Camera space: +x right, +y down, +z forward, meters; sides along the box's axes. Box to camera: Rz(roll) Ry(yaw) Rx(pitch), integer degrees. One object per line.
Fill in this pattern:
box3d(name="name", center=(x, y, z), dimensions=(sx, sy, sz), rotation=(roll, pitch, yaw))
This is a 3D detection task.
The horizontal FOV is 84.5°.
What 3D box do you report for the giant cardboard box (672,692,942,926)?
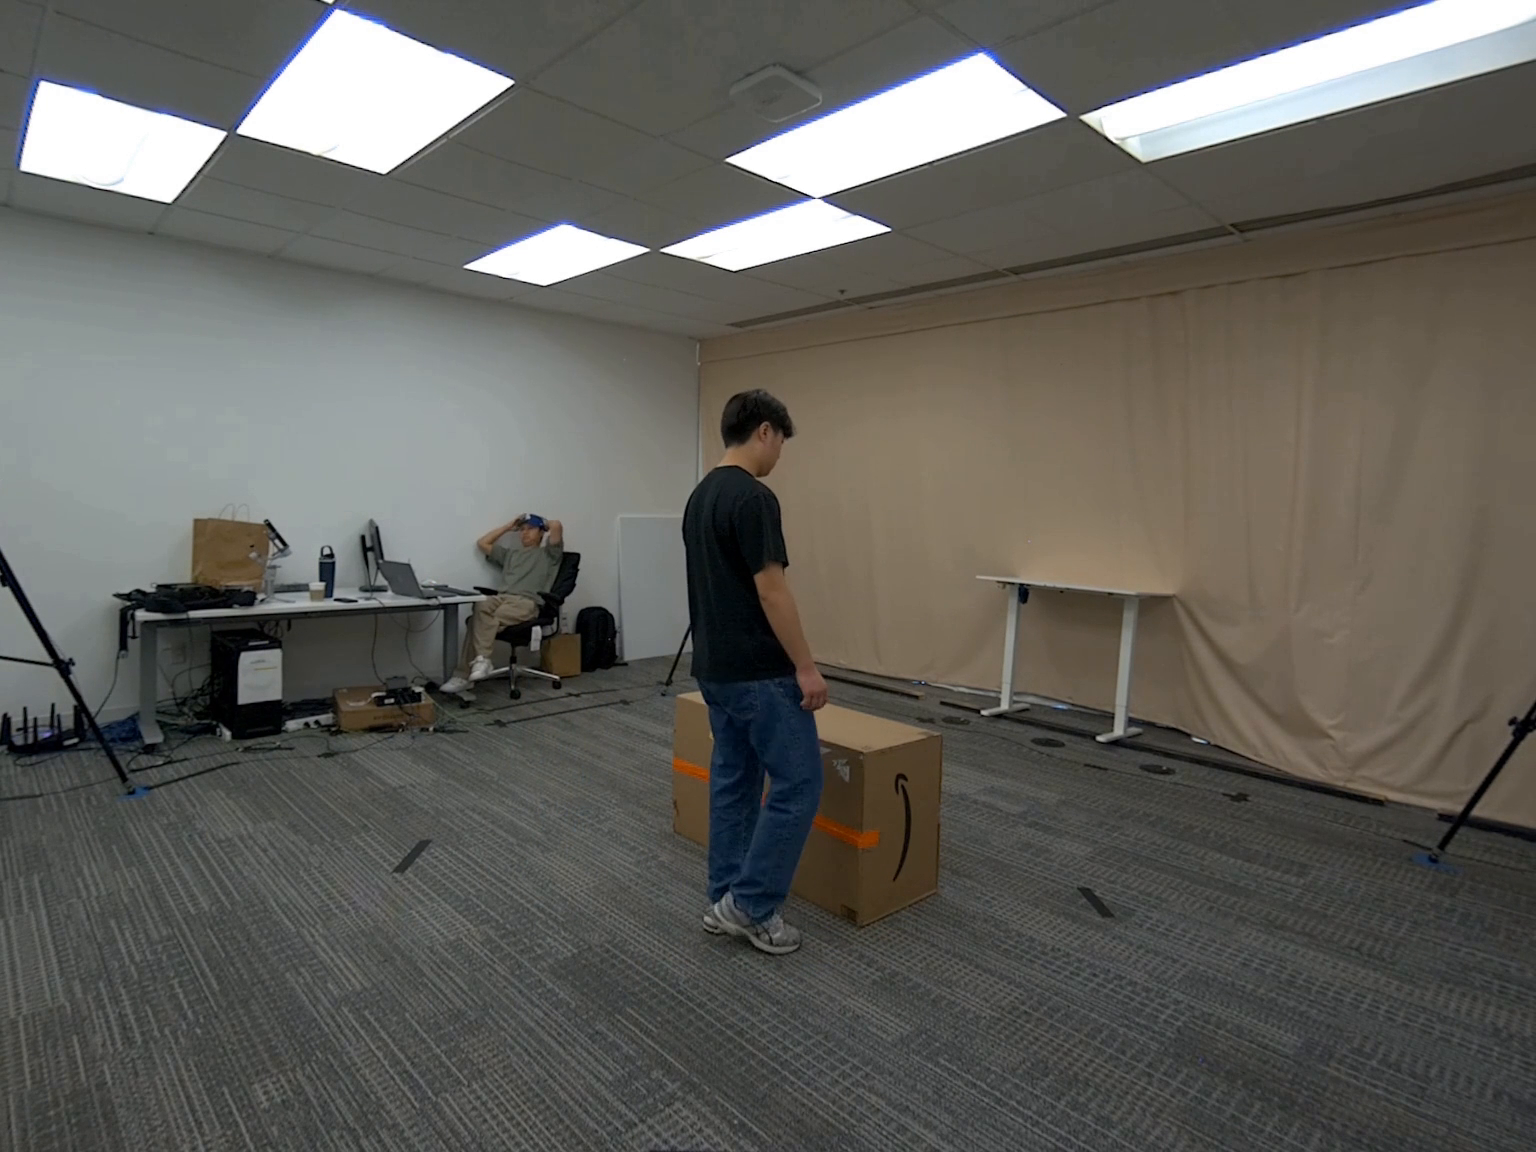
box3d(name="giant cardboard box", center=(0.108, 0.816, 3.252), dimensions=(0.437, 0.582, 1.053), rotation=(-3, 6, -42))
